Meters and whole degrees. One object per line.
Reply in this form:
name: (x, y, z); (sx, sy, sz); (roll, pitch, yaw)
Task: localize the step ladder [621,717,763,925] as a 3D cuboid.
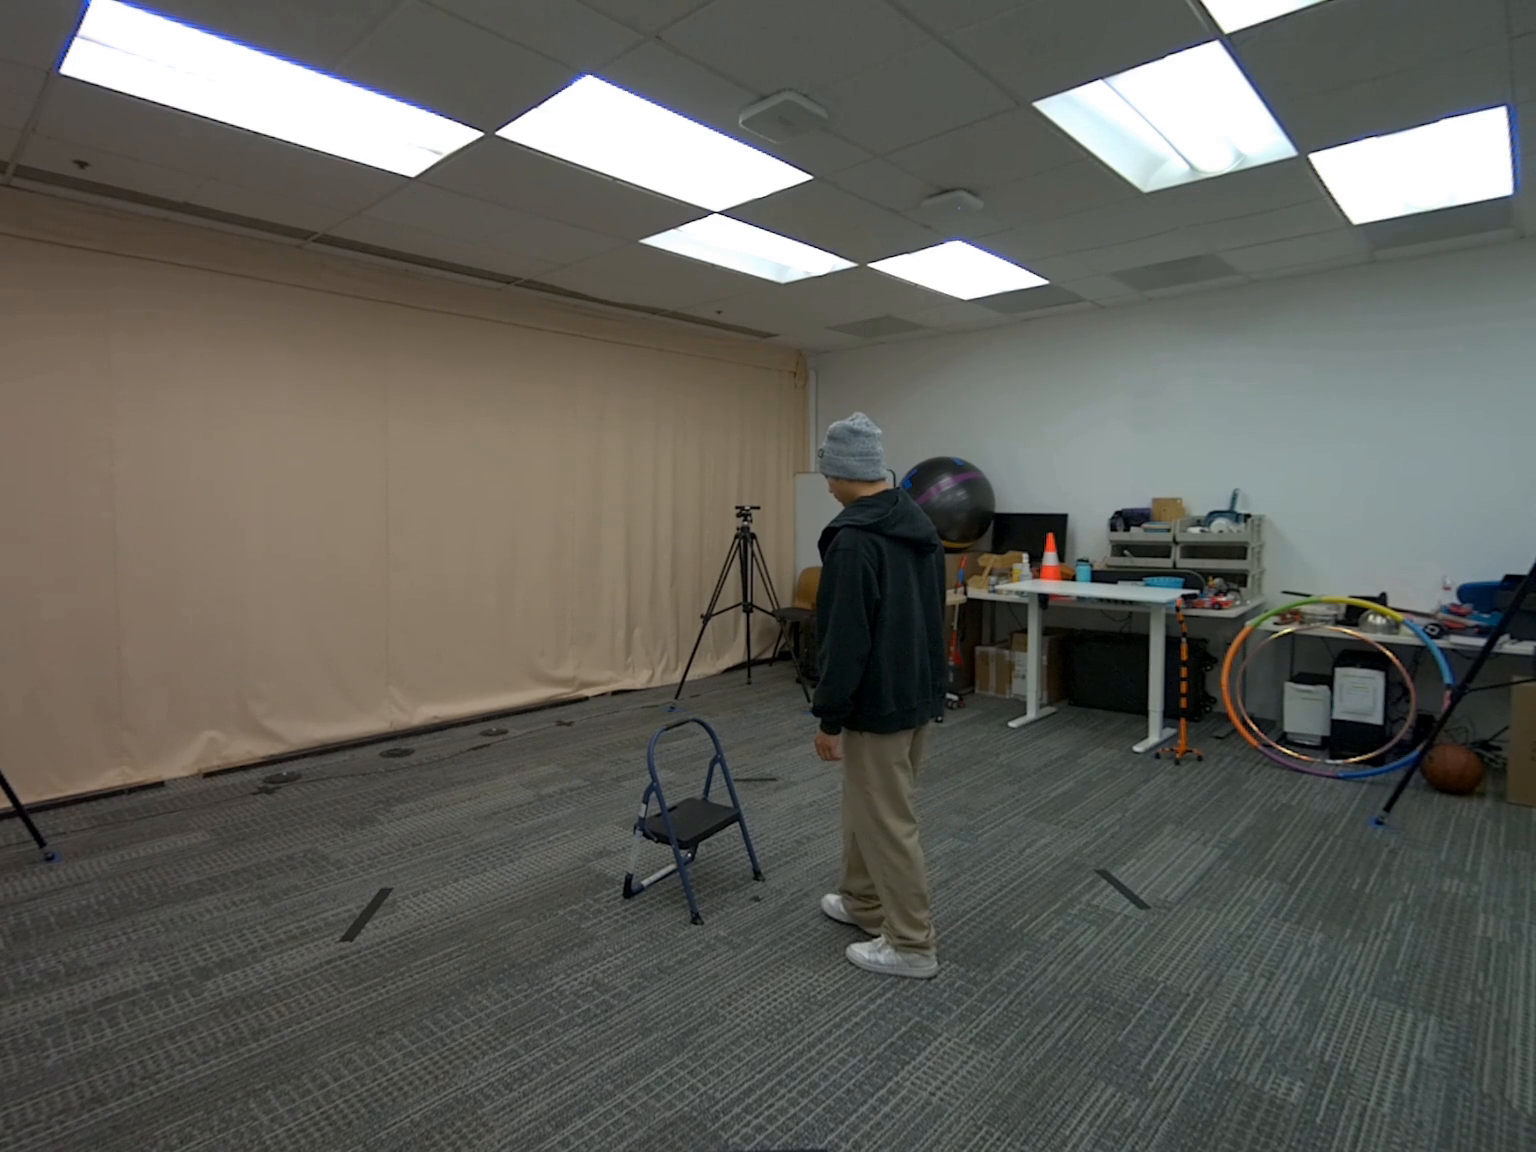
step ladder: (-0.266, 0.836, 3.053); (0.360, 0.605, 0.418); (2, 4, 32)
